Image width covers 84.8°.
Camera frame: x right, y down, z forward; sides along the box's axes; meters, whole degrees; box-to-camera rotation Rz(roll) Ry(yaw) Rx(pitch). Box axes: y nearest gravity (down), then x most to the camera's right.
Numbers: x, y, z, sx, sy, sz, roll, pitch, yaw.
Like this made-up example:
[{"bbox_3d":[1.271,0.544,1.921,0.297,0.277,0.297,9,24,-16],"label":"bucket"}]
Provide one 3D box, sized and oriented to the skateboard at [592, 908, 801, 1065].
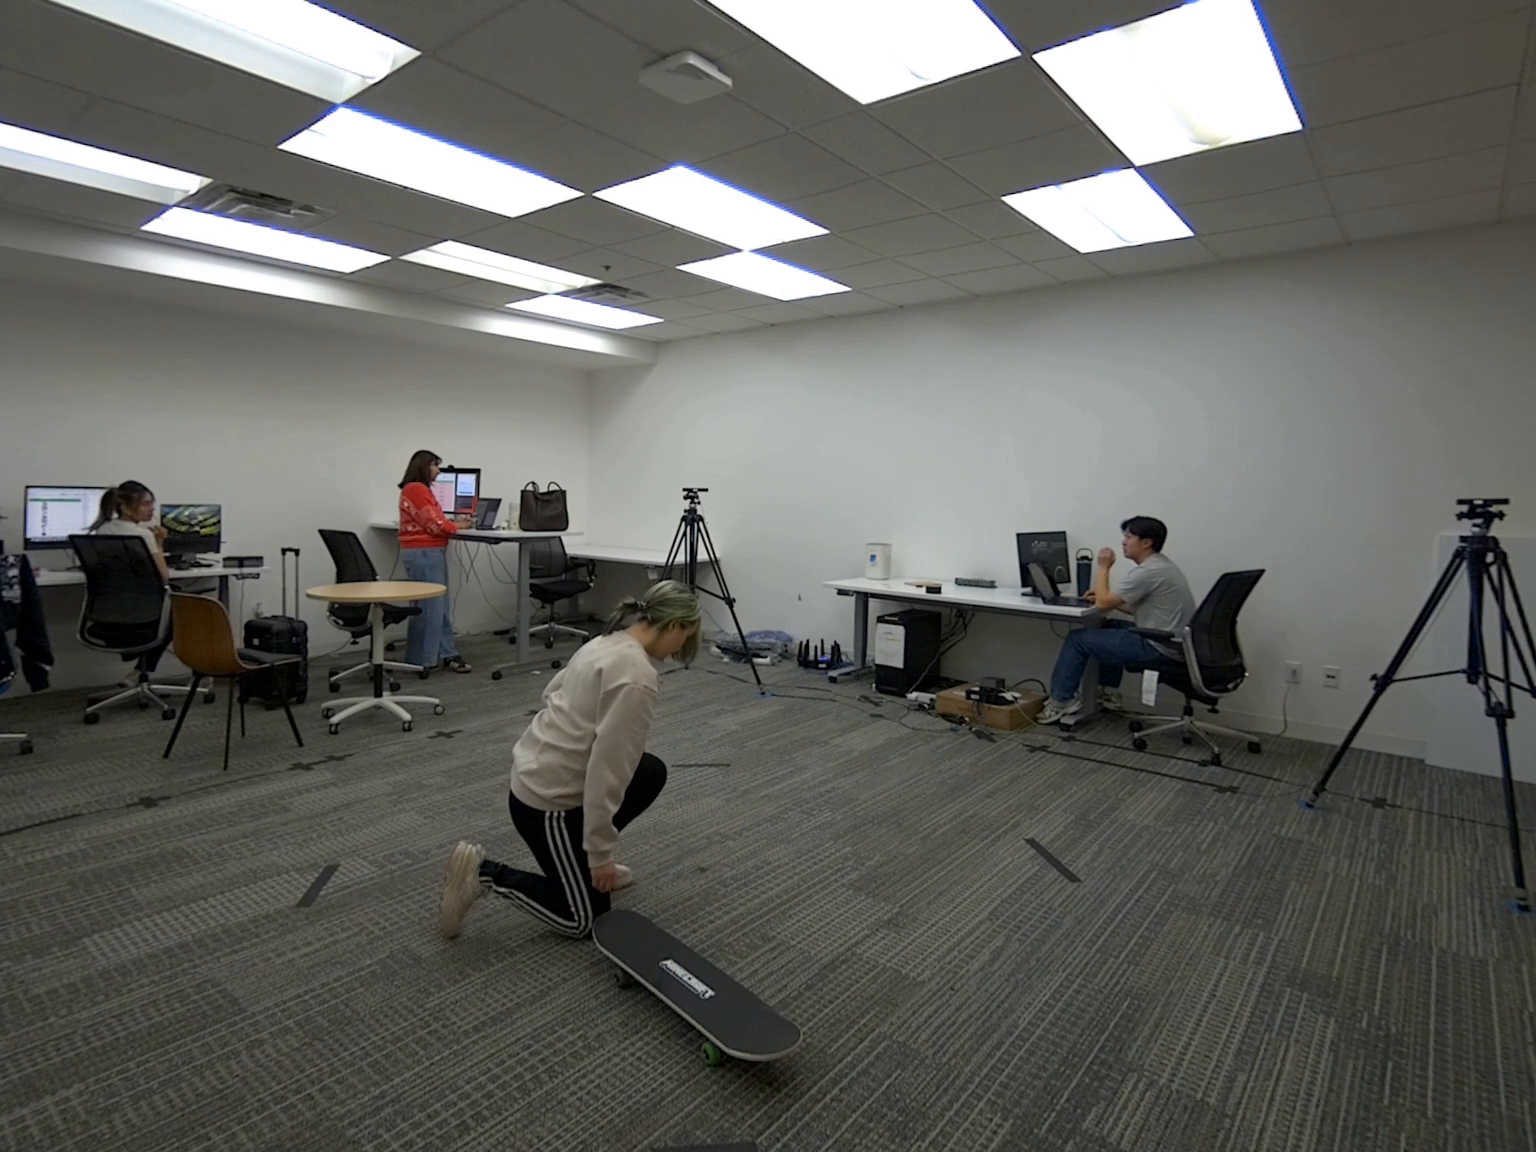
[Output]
[{"bbox_3d":[-0.224,1.100,2.257,0.188,0.110,0.813,-4,8,-40],"label":"skateboard"}]
